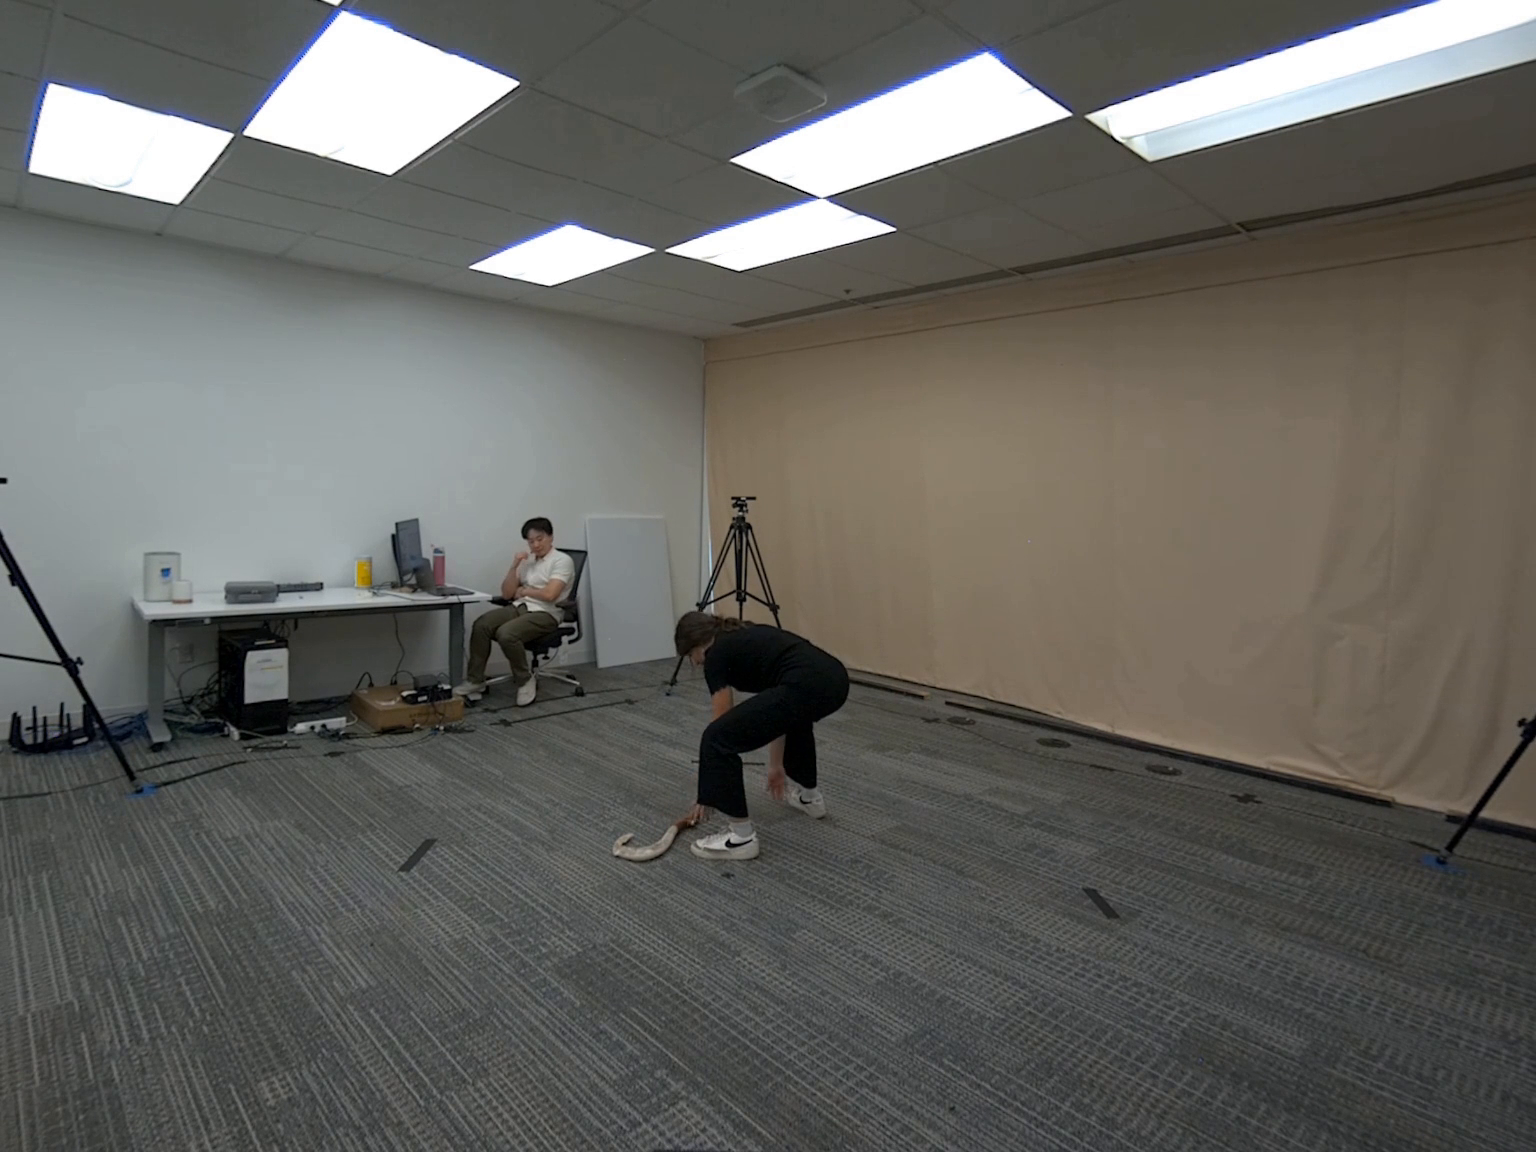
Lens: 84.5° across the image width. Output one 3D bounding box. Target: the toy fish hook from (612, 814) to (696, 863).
[{"bbox_3d":[-0.458,1.046,3.437,0.229,0.048,0.499,5,6,23],"label":"toy fish hook"}]
